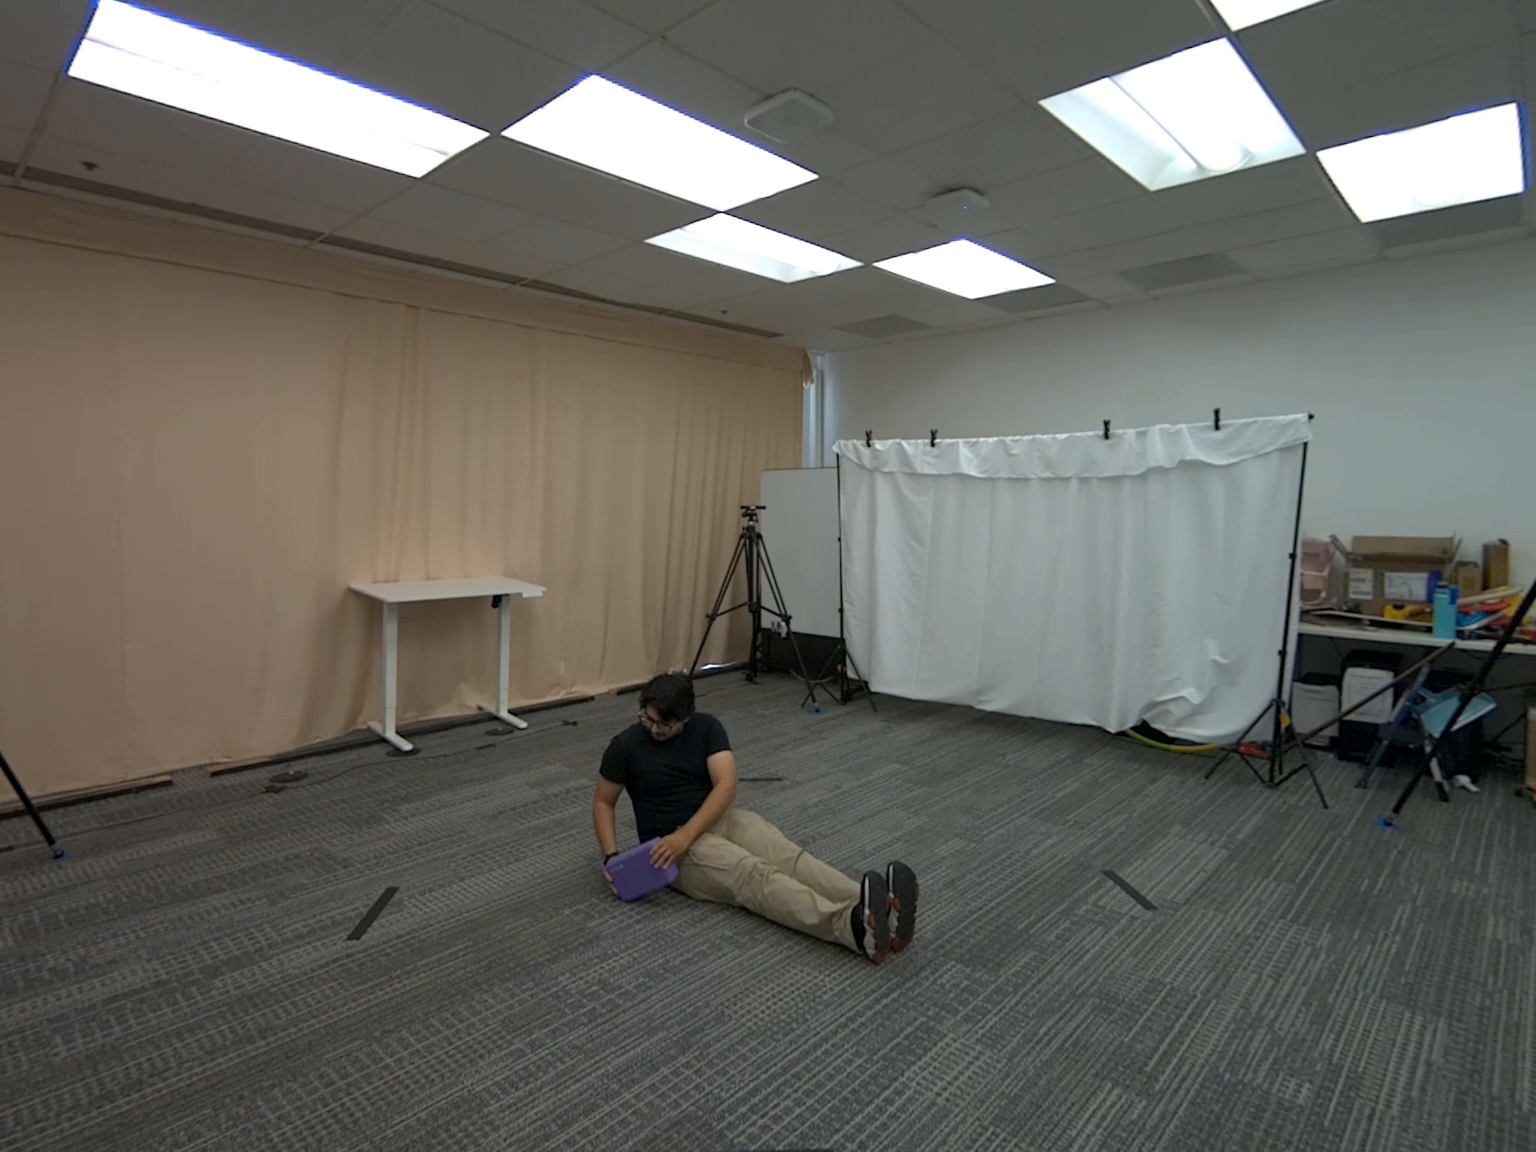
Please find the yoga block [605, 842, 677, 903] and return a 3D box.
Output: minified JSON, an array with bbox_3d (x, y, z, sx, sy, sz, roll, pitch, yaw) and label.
[{"bbox_3d":[-0.444,1.031,2.970,0.232,0.150,0.075,-30,-7,22],"label":"yoga block"}]
